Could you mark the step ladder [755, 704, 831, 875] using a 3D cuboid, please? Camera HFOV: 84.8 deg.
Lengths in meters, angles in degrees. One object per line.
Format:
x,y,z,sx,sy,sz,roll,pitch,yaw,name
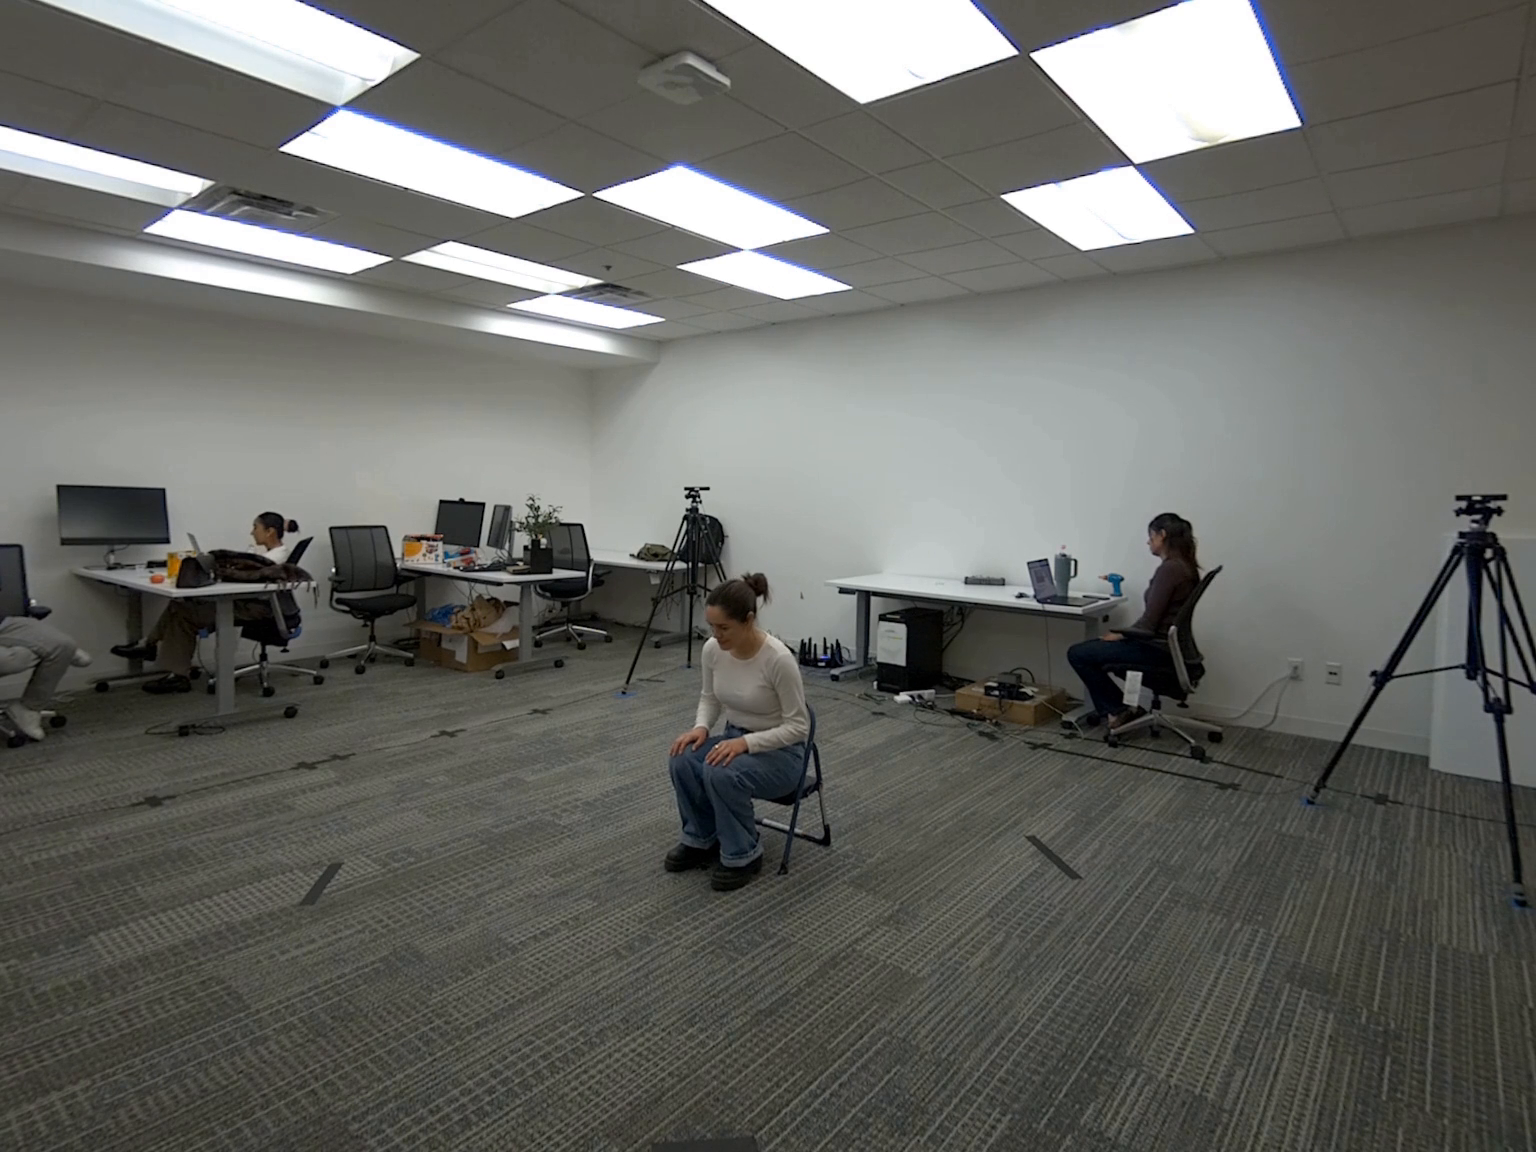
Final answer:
-0.015,0.744,3.318,0.445,0.604,0.339,4,4,37,step ladder
